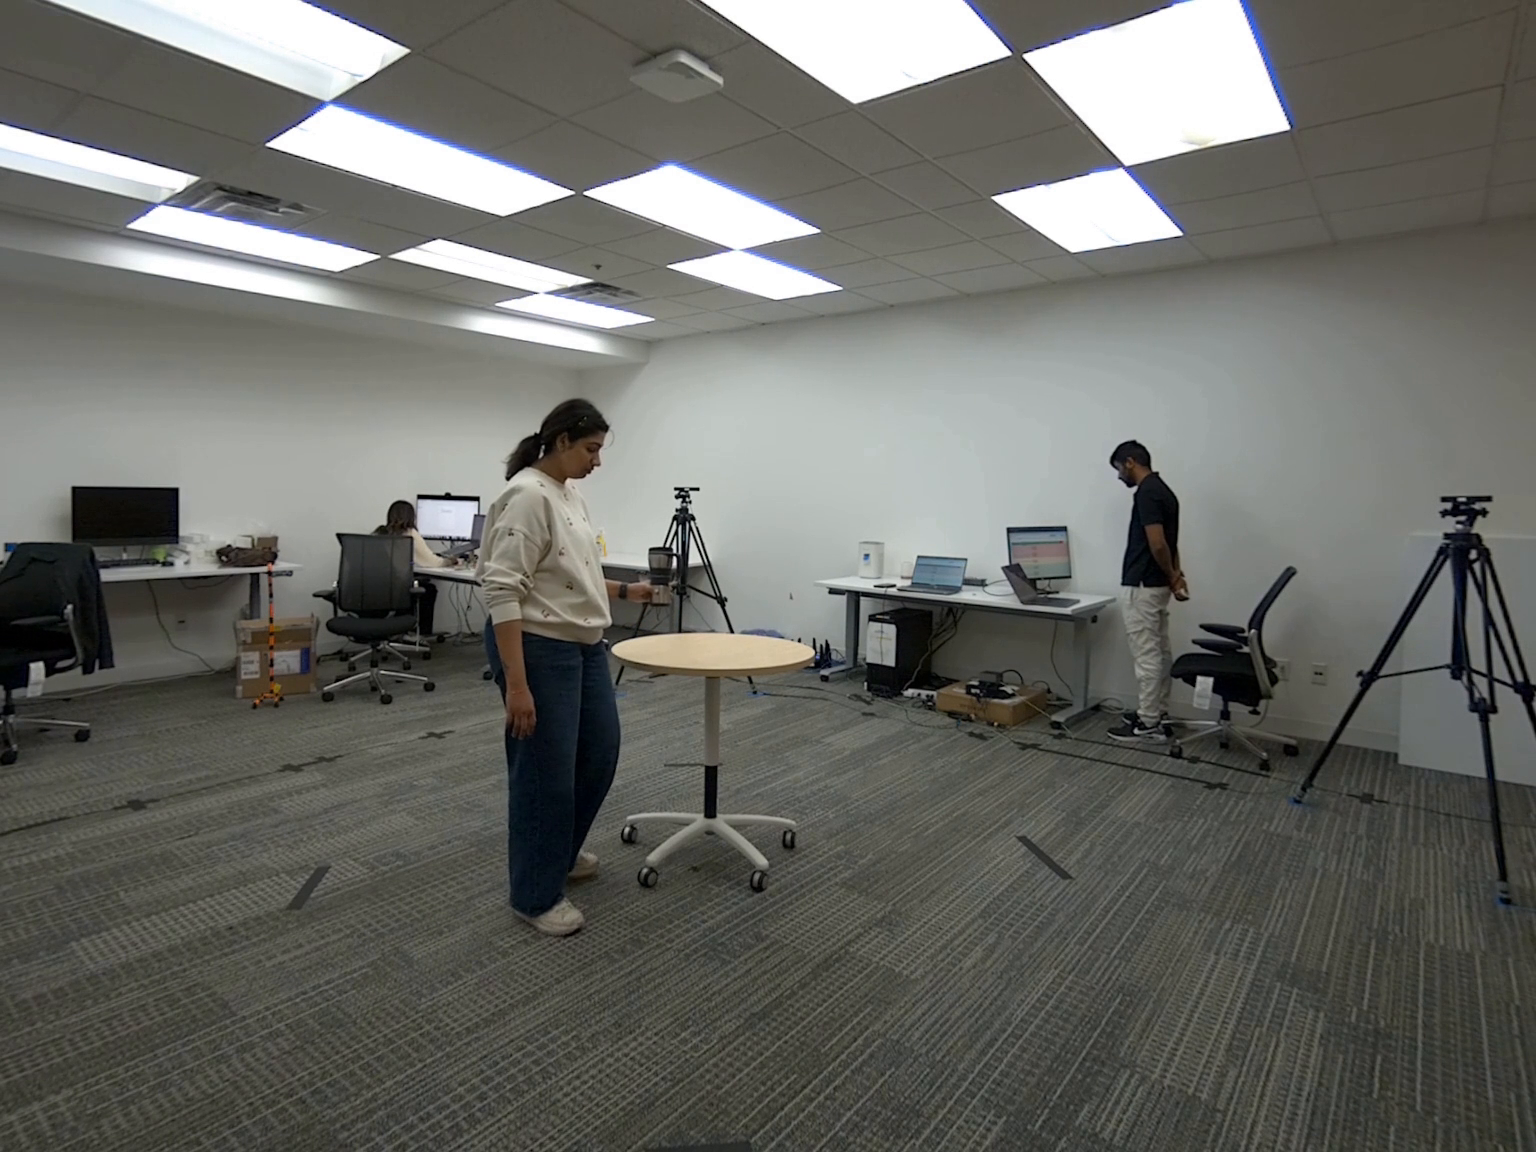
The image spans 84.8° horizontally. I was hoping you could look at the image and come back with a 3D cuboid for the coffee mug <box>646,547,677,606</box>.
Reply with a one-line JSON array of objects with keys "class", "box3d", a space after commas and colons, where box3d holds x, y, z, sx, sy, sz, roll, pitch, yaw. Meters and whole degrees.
[{"class": "coffee mug", "box3d": [-0.368, 0.005, 2.921, 0.125, 0.204, 0.085, -3, -7, 35]}]
